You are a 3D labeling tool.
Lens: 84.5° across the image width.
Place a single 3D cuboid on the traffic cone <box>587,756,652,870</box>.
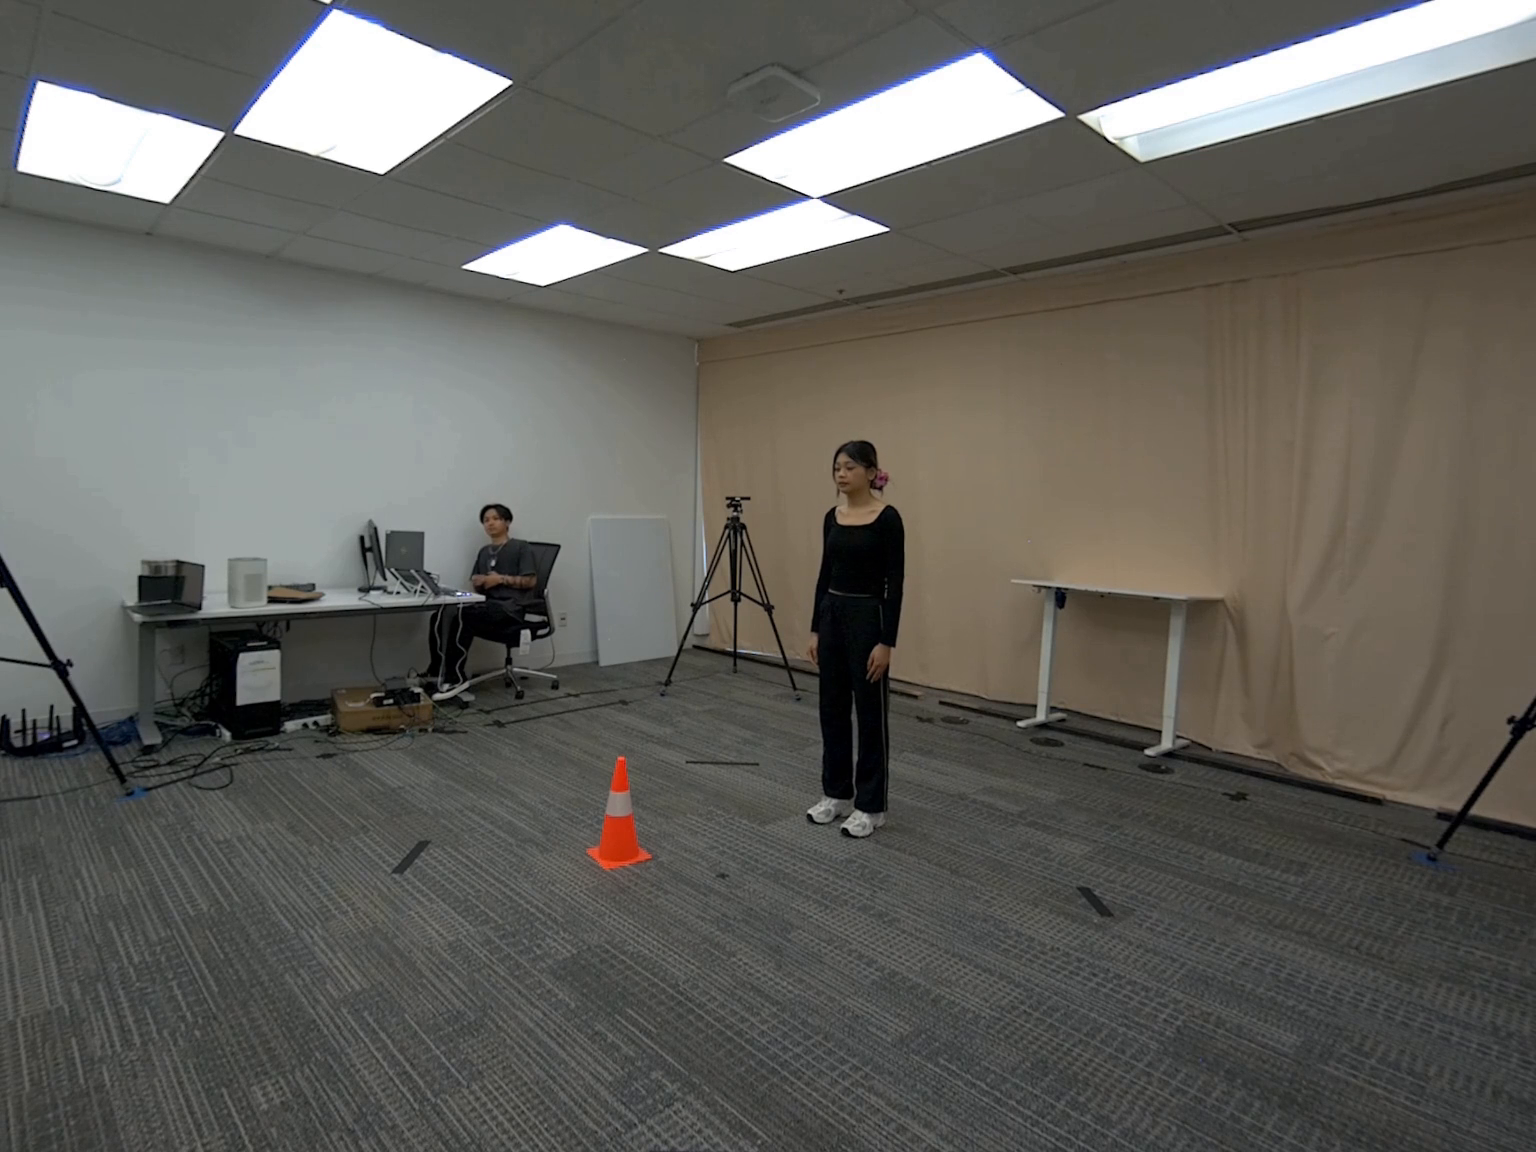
[{"bbox_3d":[-0.585,0.898,3.255,0.199,0.382,0.210,-1,5,-33],"label":"traffic cone"}]
